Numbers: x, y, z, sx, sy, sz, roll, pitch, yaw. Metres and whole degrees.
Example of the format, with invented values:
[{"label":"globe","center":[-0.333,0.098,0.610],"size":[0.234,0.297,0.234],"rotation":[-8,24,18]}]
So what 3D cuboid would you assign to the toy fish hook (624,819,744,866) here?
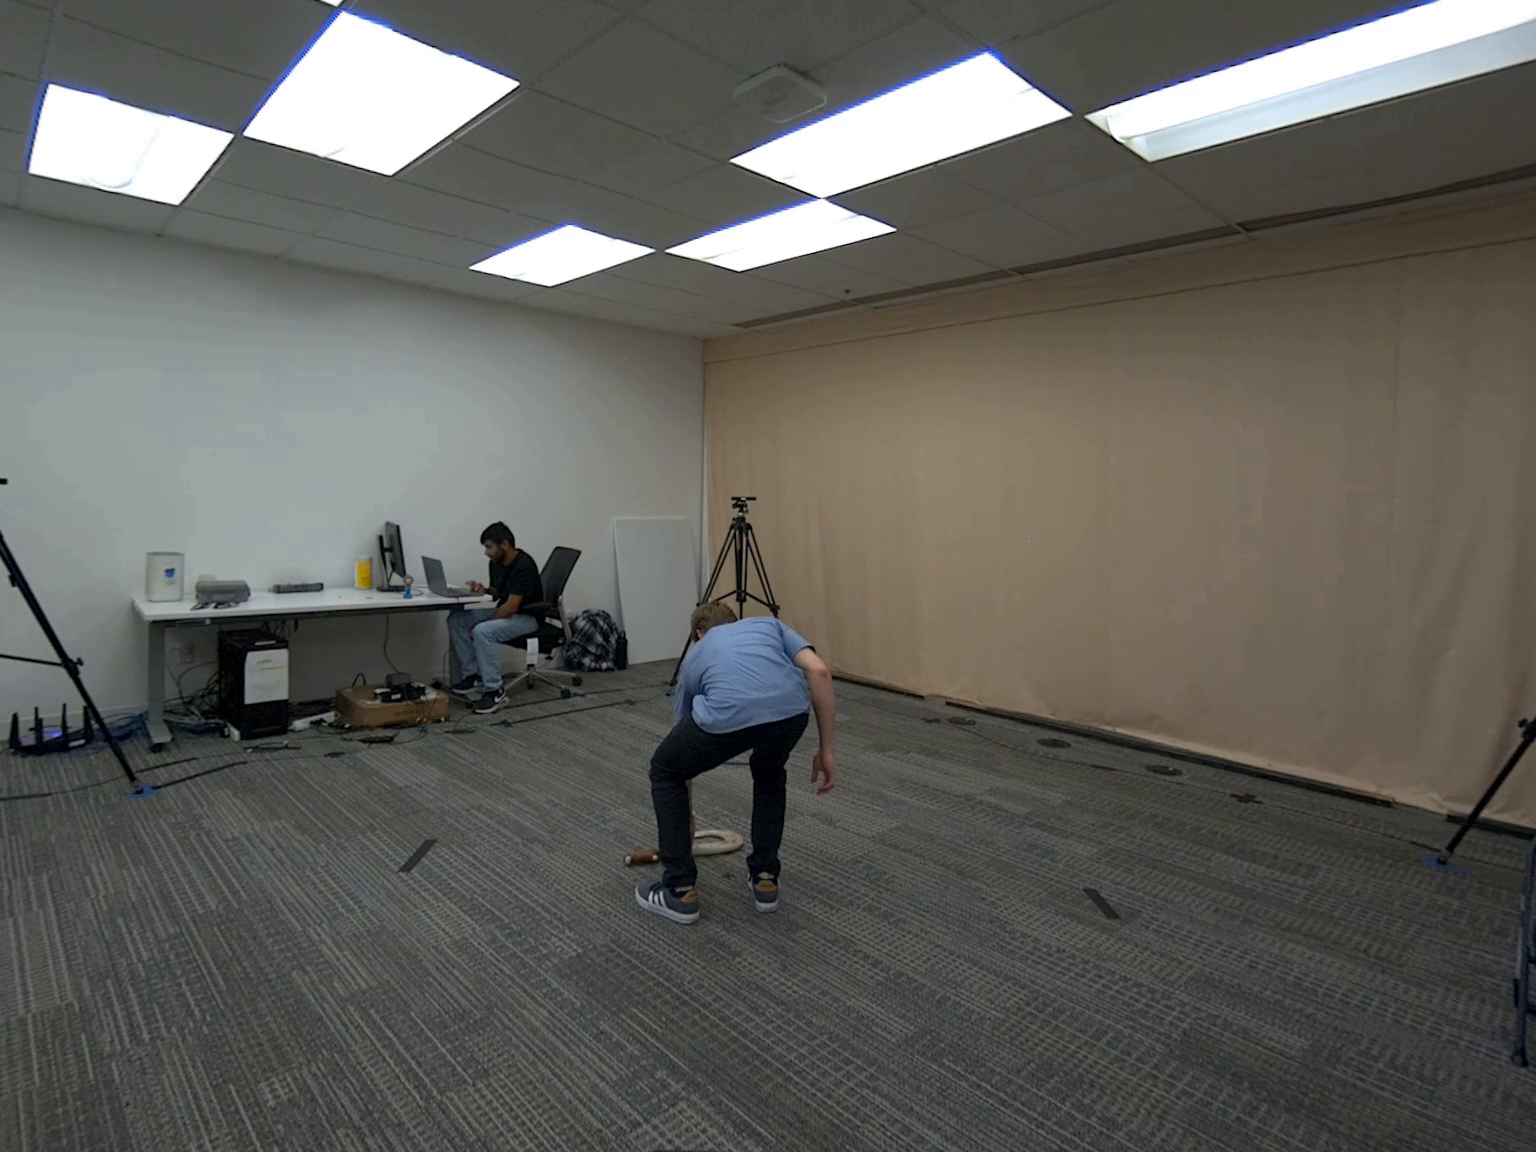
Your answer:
[{"label":"toy fish hook","center":[-0.351,1.070,3.320],"size":[0.497,0.048,0.228],"rotation":[0,-2,-27]}]
